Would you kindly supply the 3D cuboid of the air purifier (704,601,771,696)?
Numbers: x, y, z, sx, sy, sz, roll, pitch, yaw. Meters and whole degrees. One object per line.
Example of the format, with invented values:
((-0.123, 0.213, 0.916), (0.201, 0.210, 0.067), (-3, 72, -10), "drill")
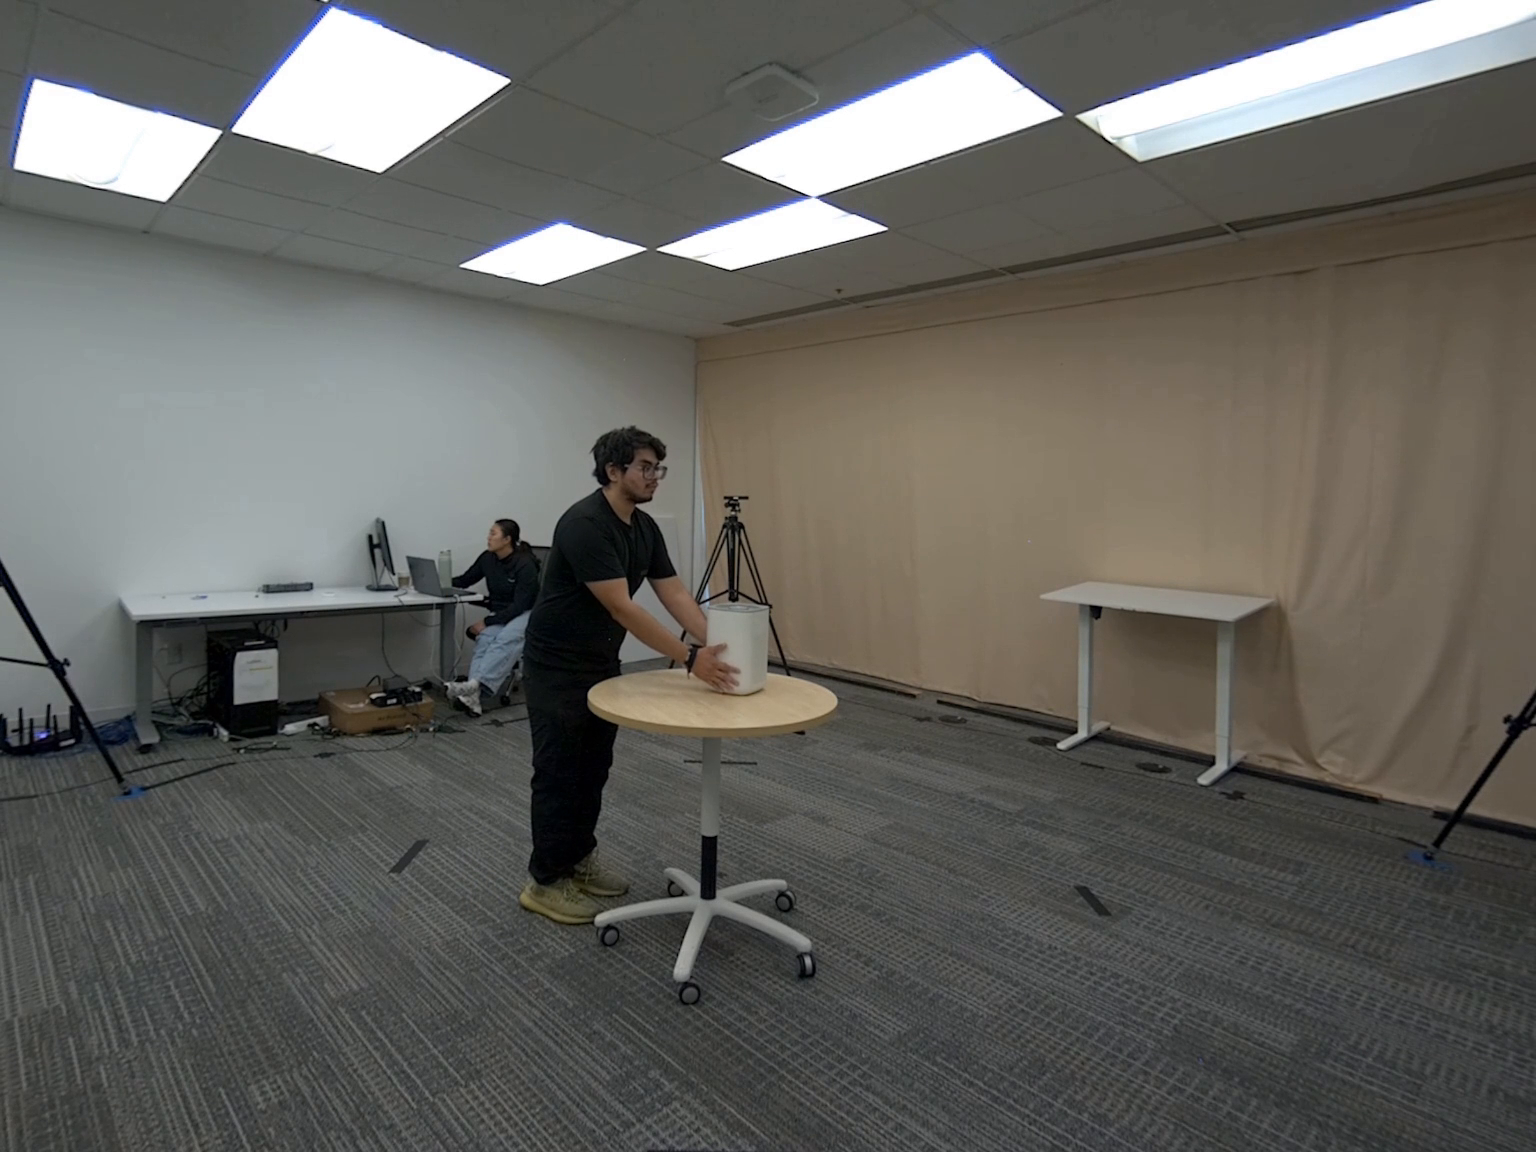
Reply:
((-0.101, 0.225, 2.652), (0.174, 0.265, 0.168), (3, 2, 26), "air purifier")
